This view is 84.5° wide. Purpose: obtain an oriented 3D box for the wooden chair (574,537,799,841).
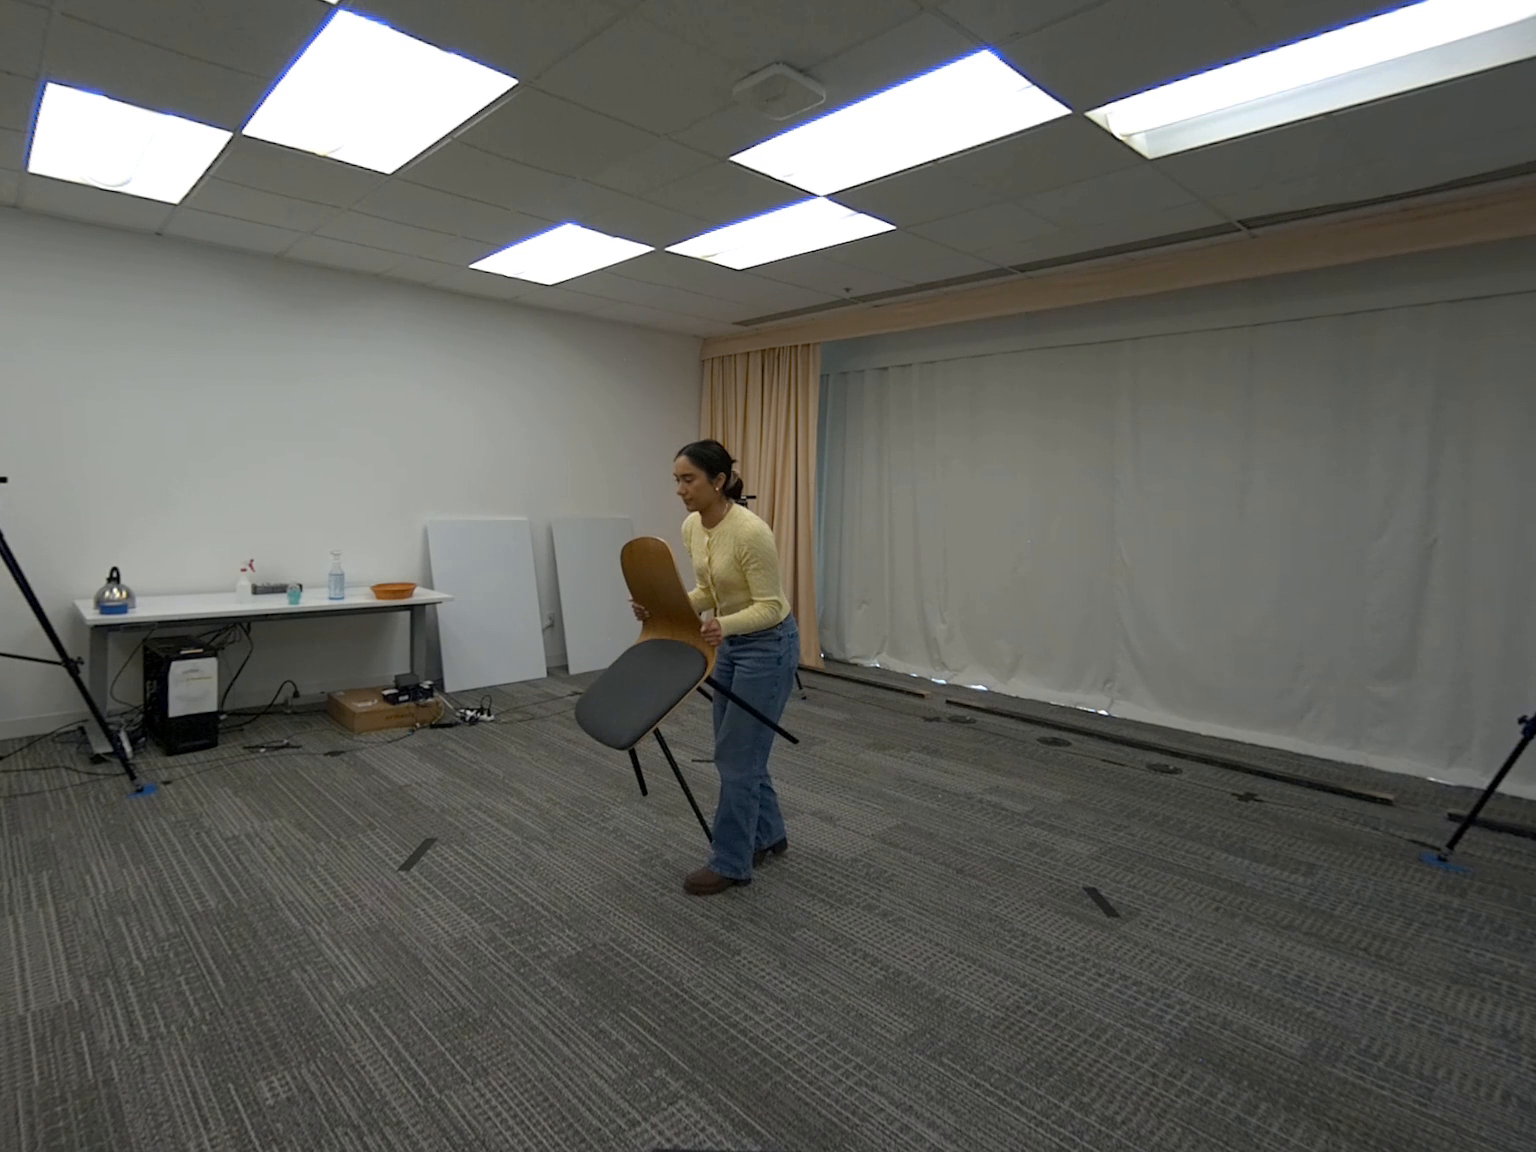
[{"bbox_3d":[-0.379,0.378,2.805,0.521,0.857,0.491,-40,28,-27],"label":"wooden chair"}]
